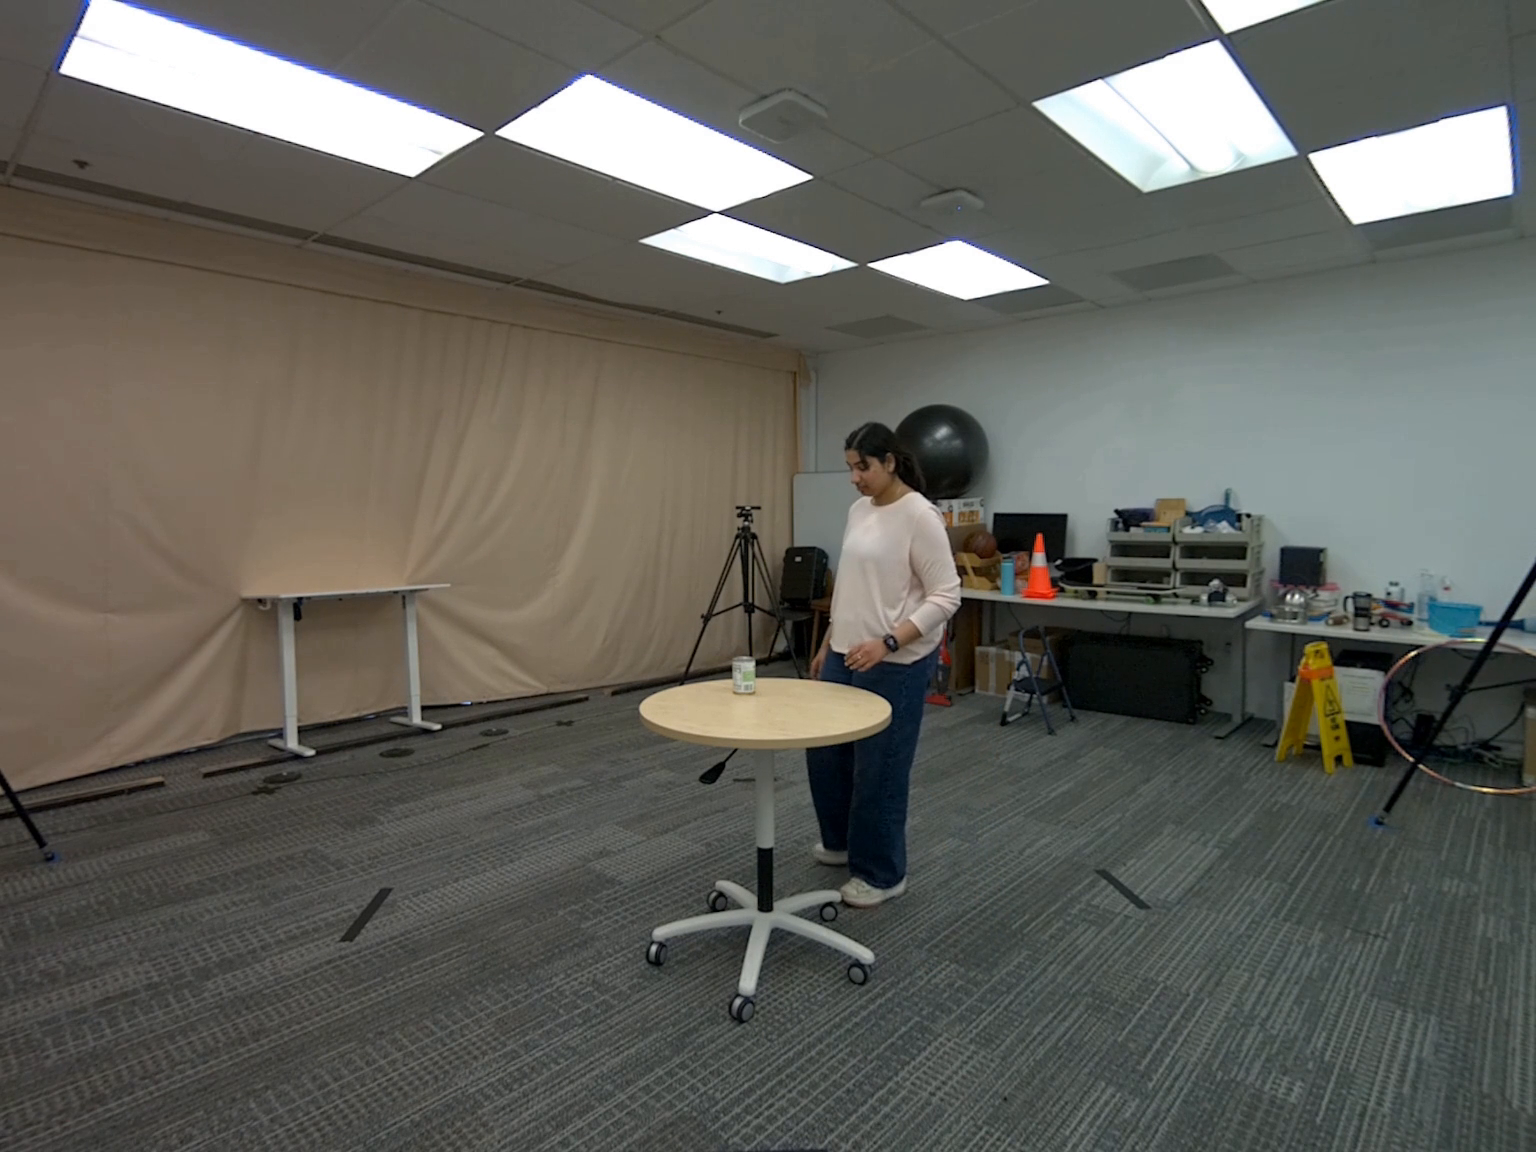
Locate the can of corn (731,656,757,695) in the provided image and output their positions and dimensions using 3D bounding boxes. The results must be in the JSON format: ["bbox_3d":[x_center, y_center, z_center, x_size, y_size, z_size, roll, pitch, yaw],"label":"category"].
[{"bbox_3d":[-0.073,0.328,2.737,0.074,0.111,0.074,0,4,-2],"label":"can of corn"}]
